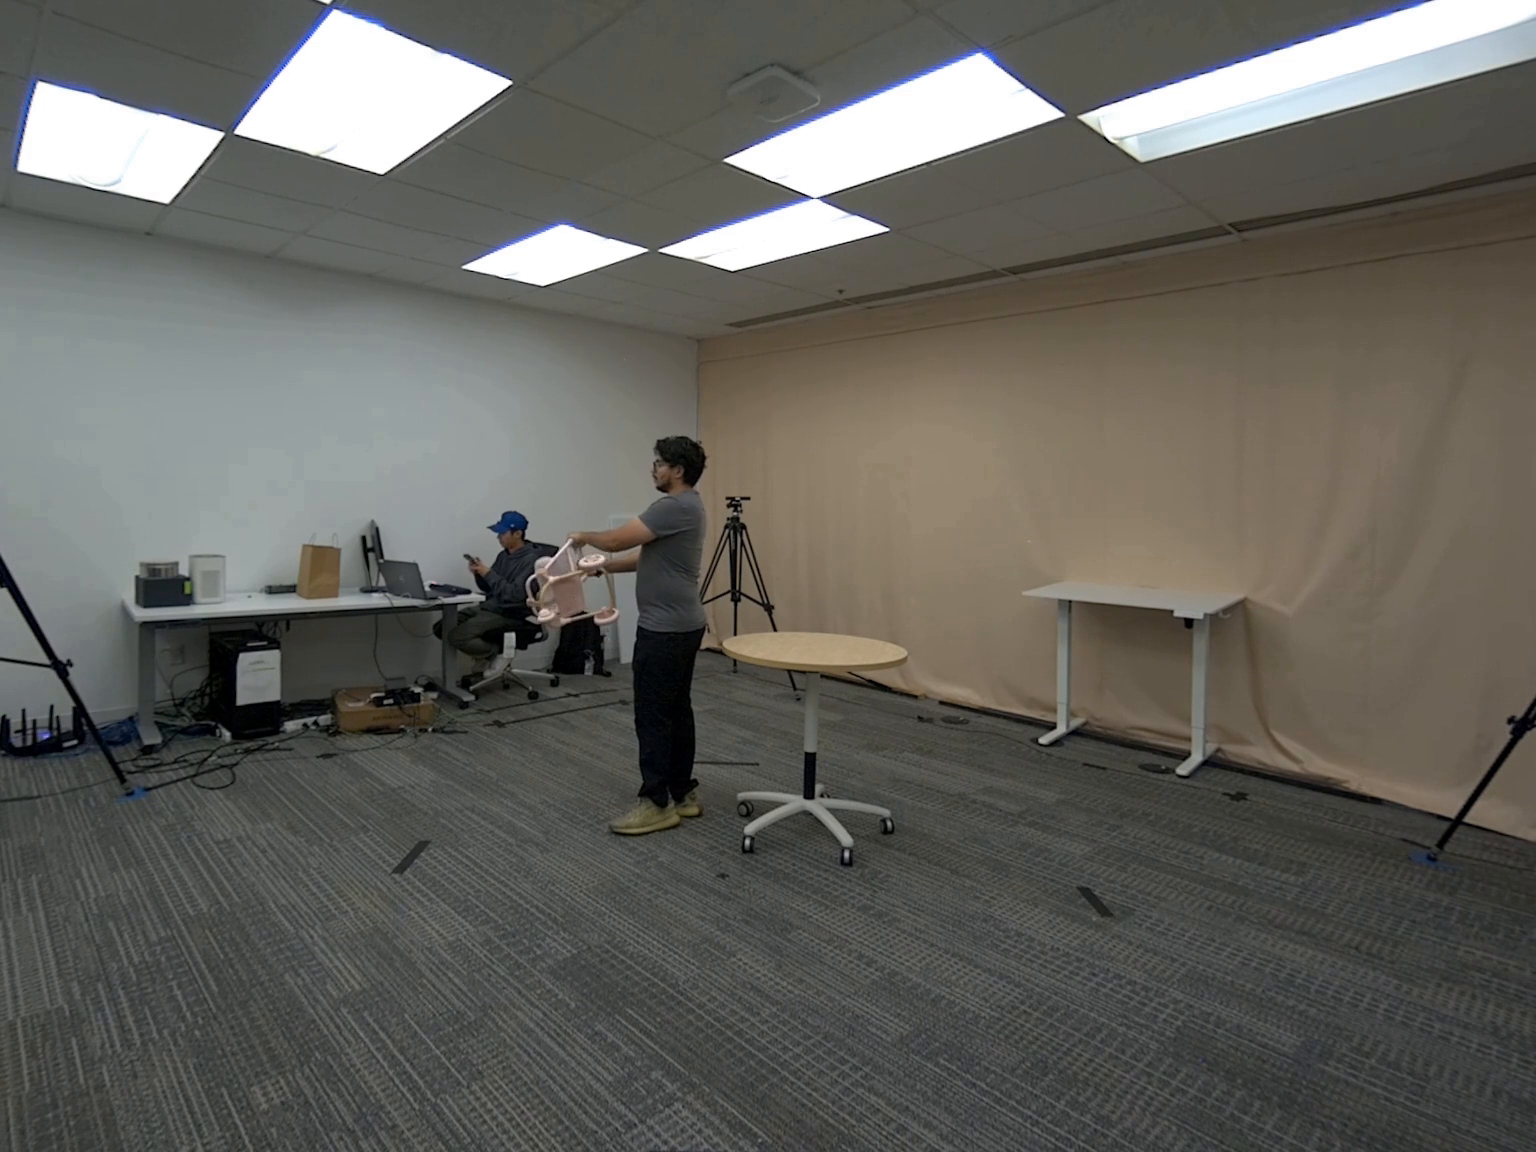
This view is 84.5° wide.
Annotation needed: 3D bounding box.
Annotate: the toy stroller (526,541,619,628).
[{"bbox_3d":[-0.849,0.050,3.516,0.339,0.275,0.550,-24,28,-18],"label":"toy stroller"}]
